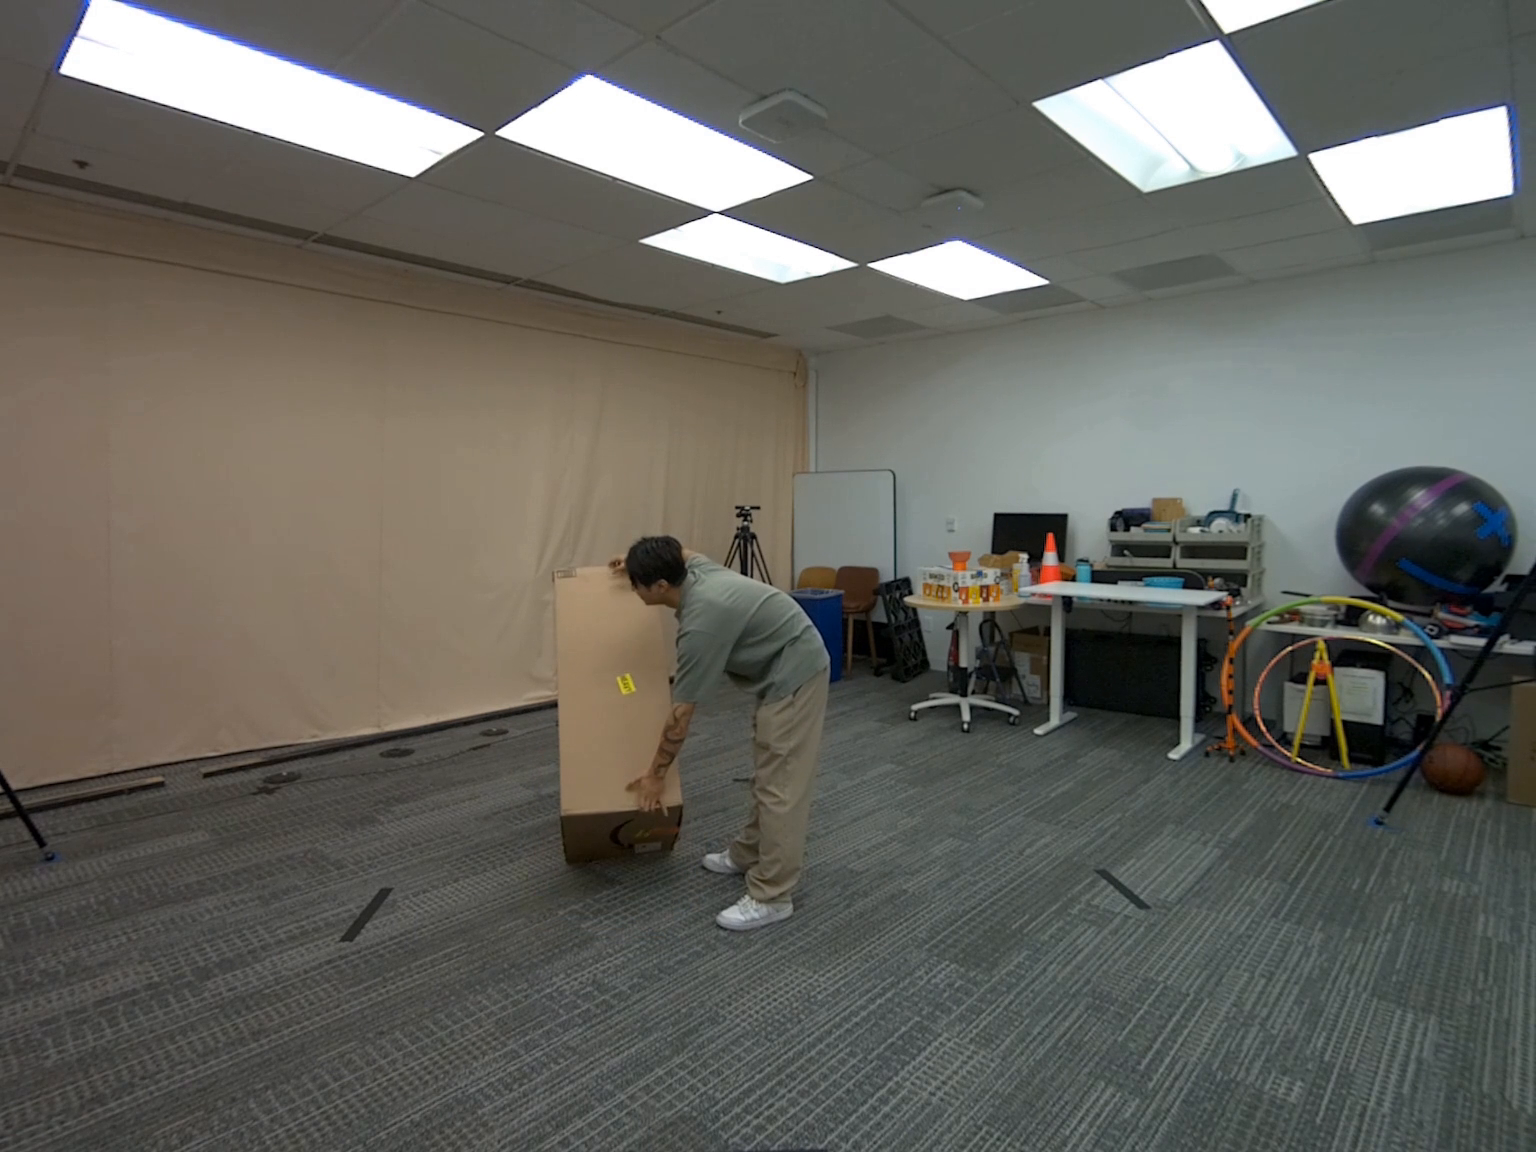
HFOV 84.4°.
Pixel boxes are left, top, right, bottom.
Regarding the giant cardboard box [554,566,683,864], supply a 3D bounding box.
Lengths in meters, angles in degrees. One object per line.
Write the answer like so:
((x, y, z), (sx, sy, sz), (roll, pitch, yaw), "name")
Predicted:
((-0.622, 0.541, 3.411), (0.422, 1.049, 0.571), (-3, -35, -11), "giant cardboard box")
